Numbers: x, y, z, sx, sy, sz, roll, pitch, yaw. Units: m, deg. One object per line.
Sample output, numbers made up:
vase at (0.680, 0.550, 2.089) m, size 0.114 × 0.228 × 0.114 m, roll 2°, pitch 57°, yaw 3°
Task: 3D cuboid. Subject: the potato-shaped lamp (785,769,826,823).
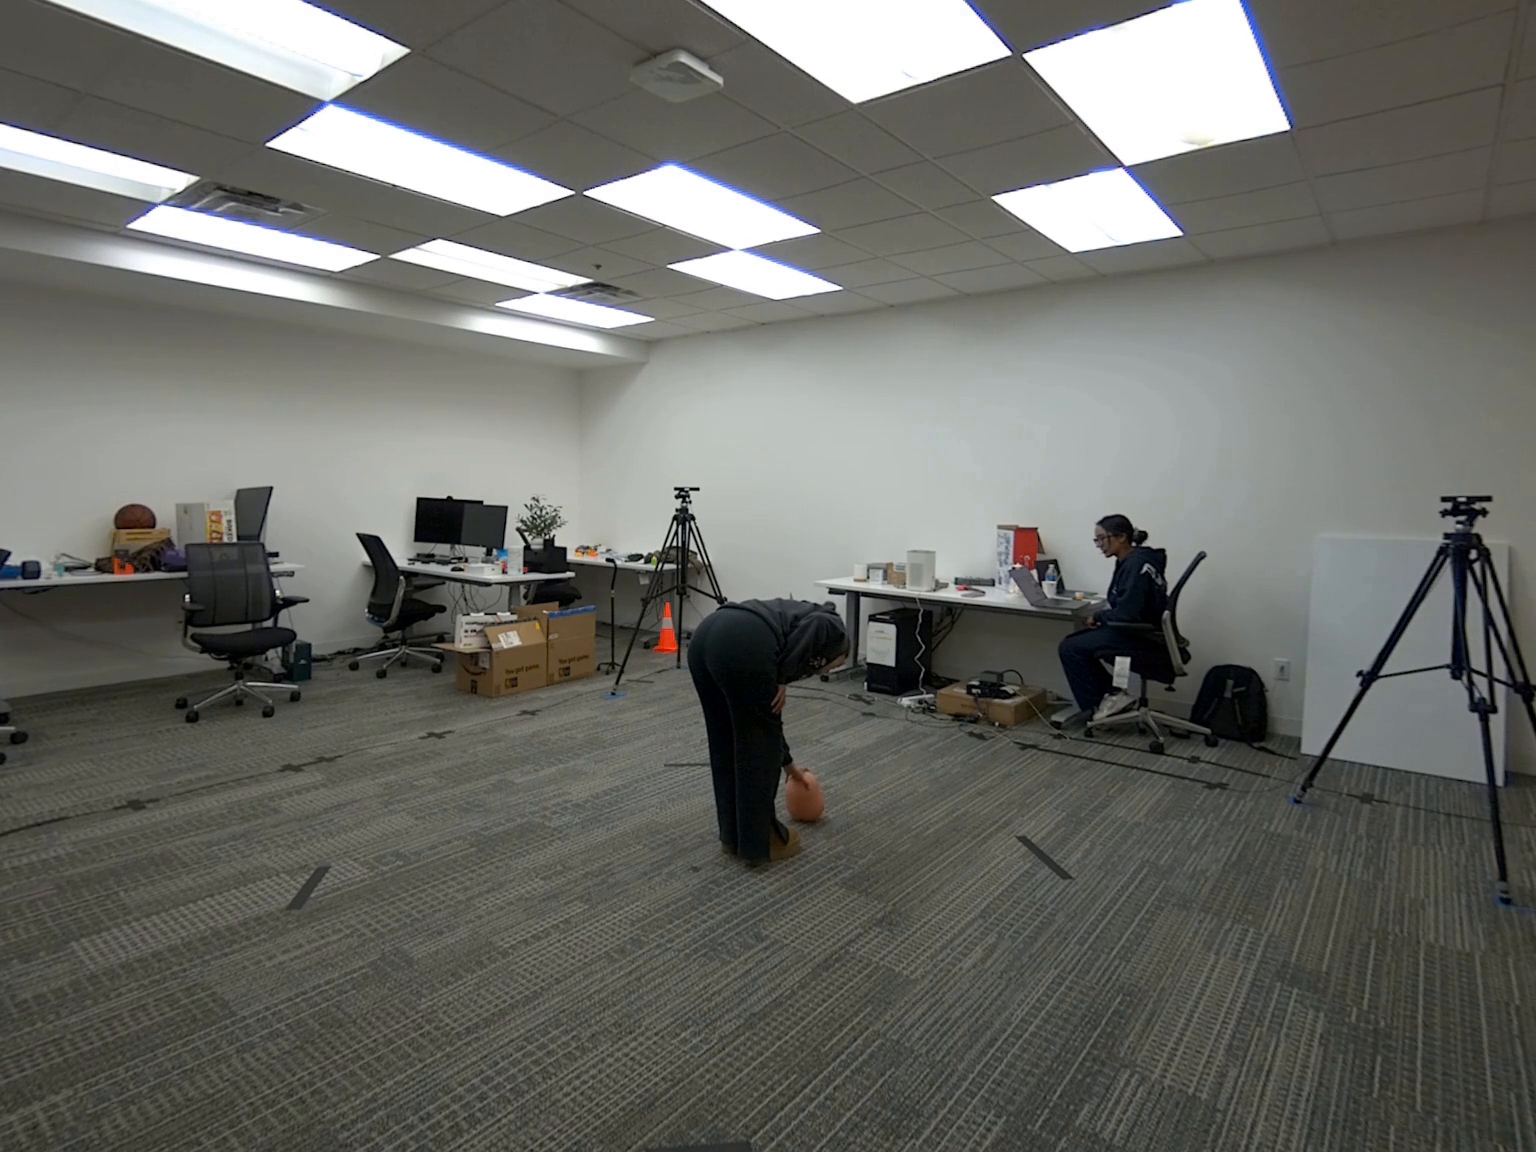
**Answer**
potato-shaped lamp at (0.151, 0.920, 3.589) m, size 0.168 × 0.194 × 0.171 m, roll -22°, pitch 27°, yaw -38°
